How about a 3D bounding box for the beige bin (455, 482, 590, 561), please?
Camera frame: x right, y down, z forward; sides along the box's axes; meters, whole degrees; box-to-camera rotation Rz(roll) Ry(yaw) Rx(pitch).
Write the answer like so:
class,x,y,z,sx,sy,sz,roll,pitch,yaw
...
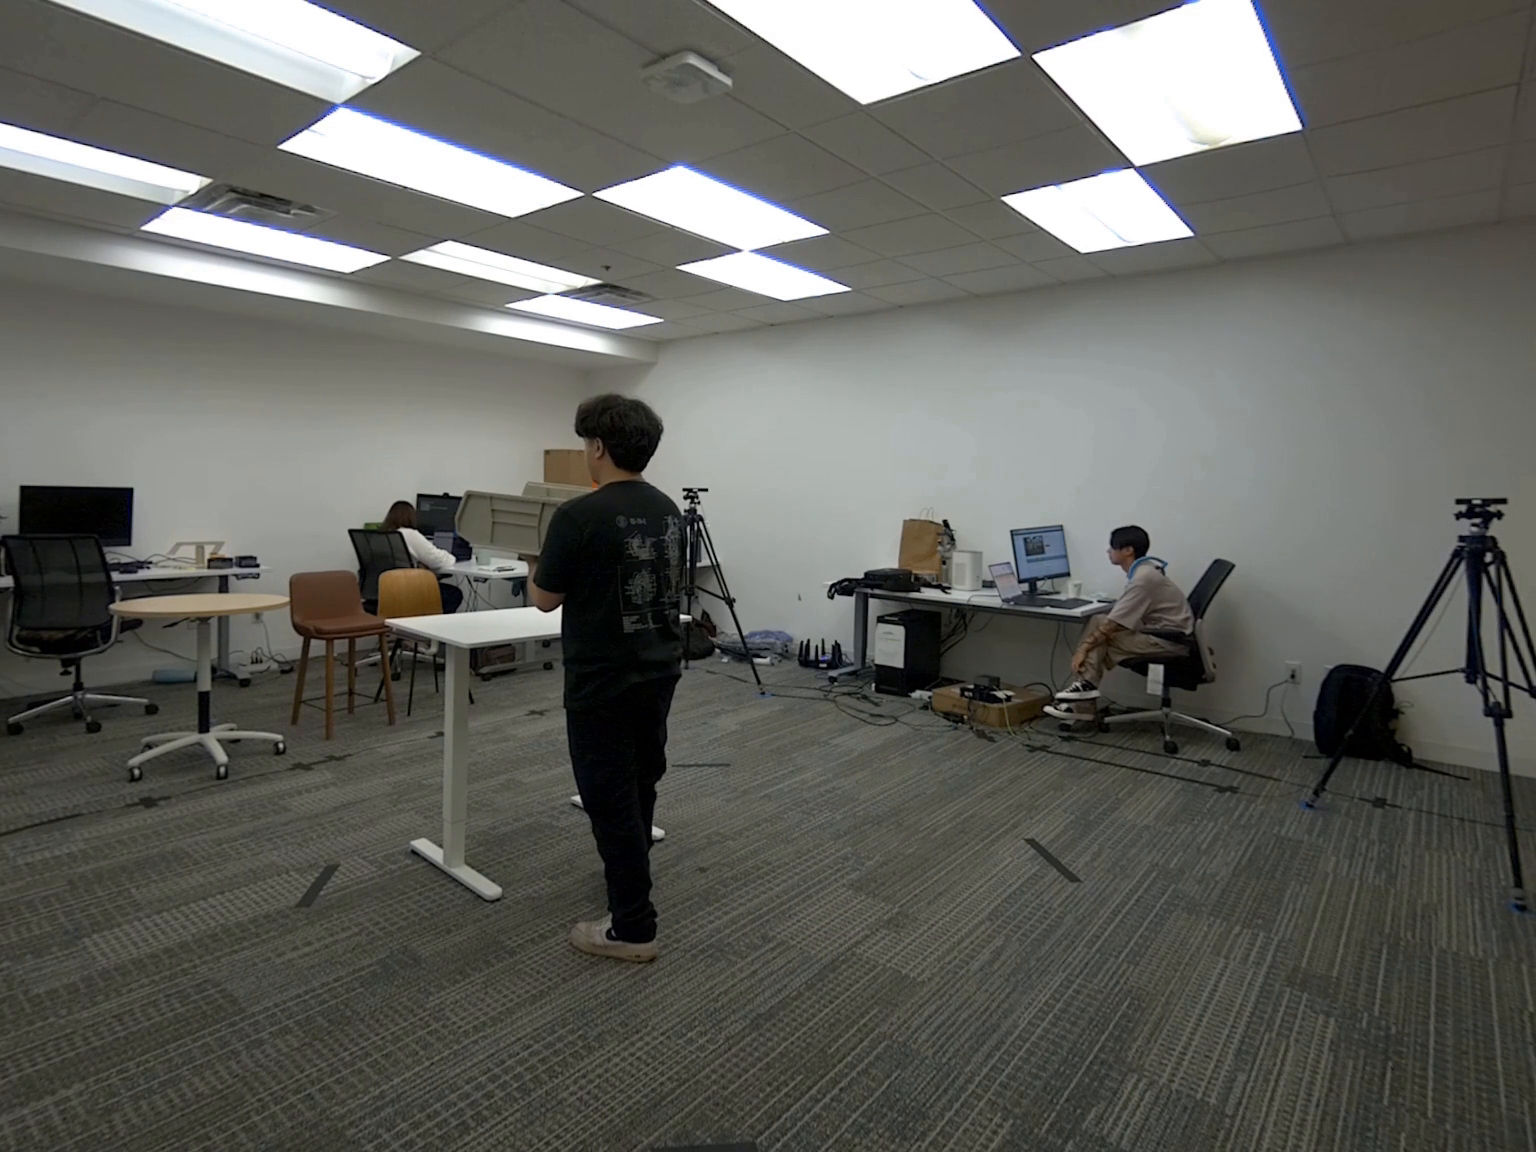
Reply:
class,x,y,z,sx,sy,sz,roll,pitch,yaw
beige bin,-0.765,-0.197,2.822,0.383,0.187,0.419,8,10,11
